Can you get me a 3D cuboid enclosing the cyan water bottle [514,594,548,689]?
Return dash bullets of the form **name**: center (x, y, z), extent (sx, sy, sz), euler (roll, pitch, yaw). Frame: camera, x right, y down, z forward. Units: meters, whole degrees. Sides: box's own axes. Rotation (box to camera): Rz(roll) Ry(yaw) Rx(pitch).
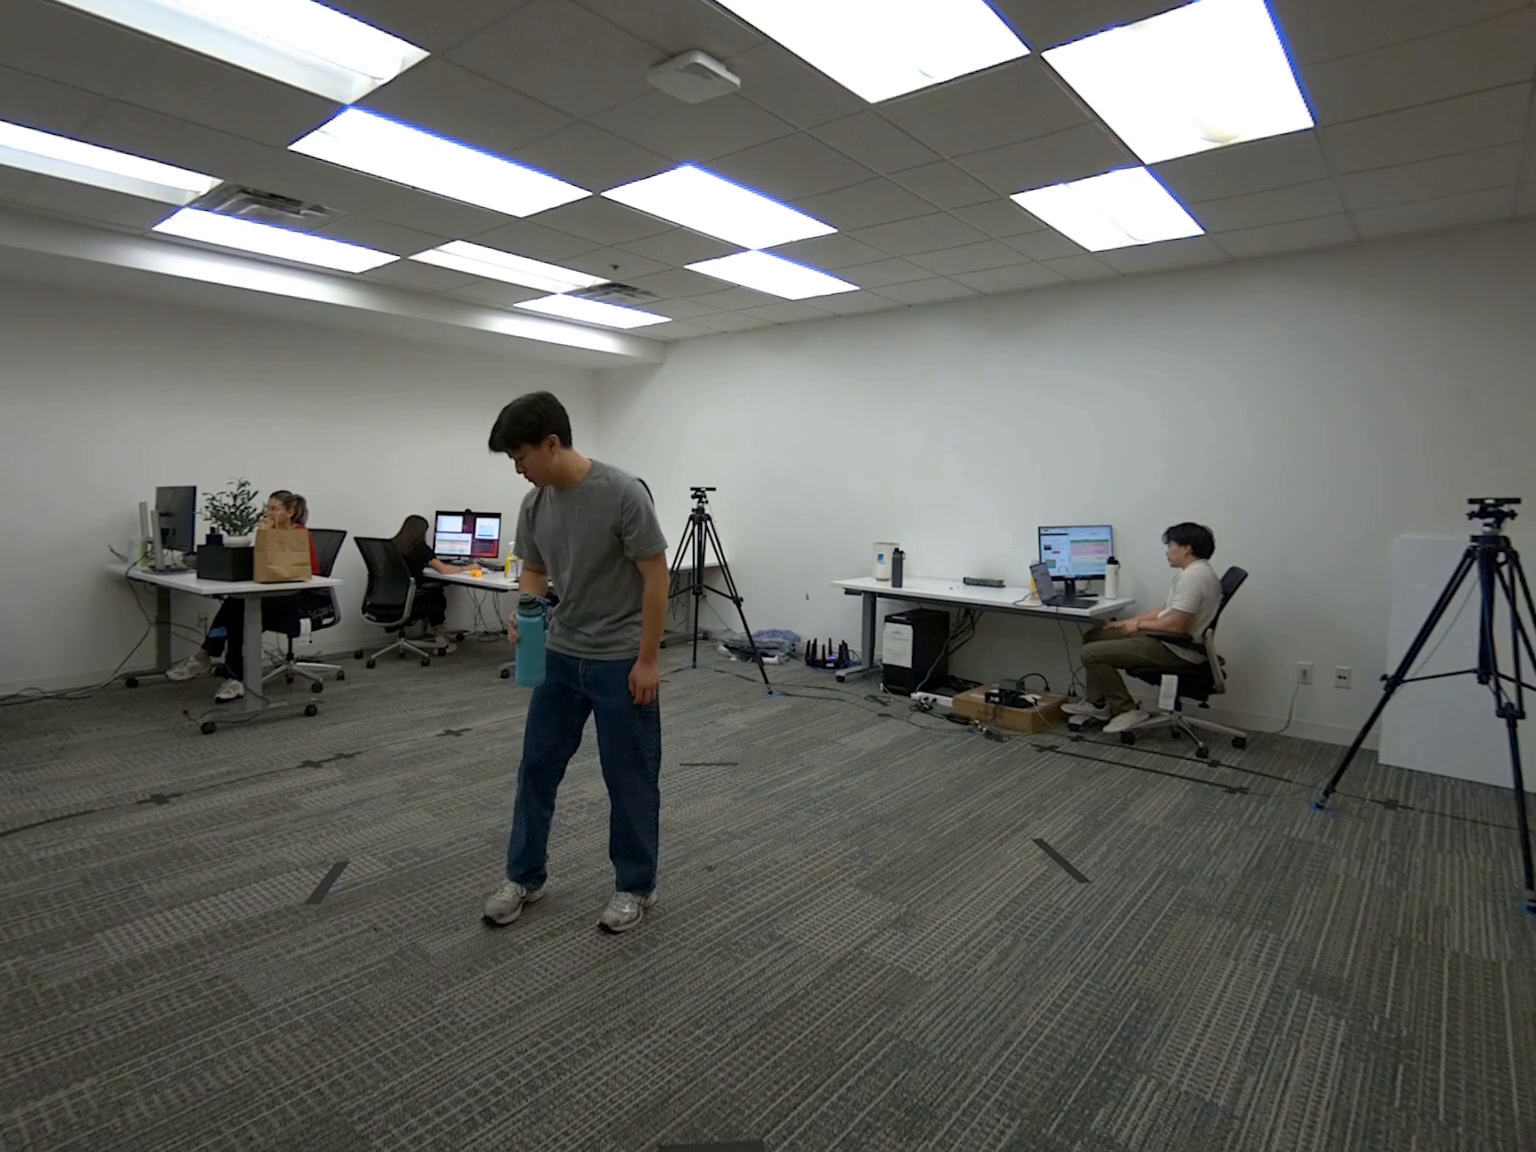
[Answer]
- **cyan water bottle**: center (-0.734, 0.184, 2.574), extent (0.092, 0.279, 0.094), euler (4, 16, -3)
